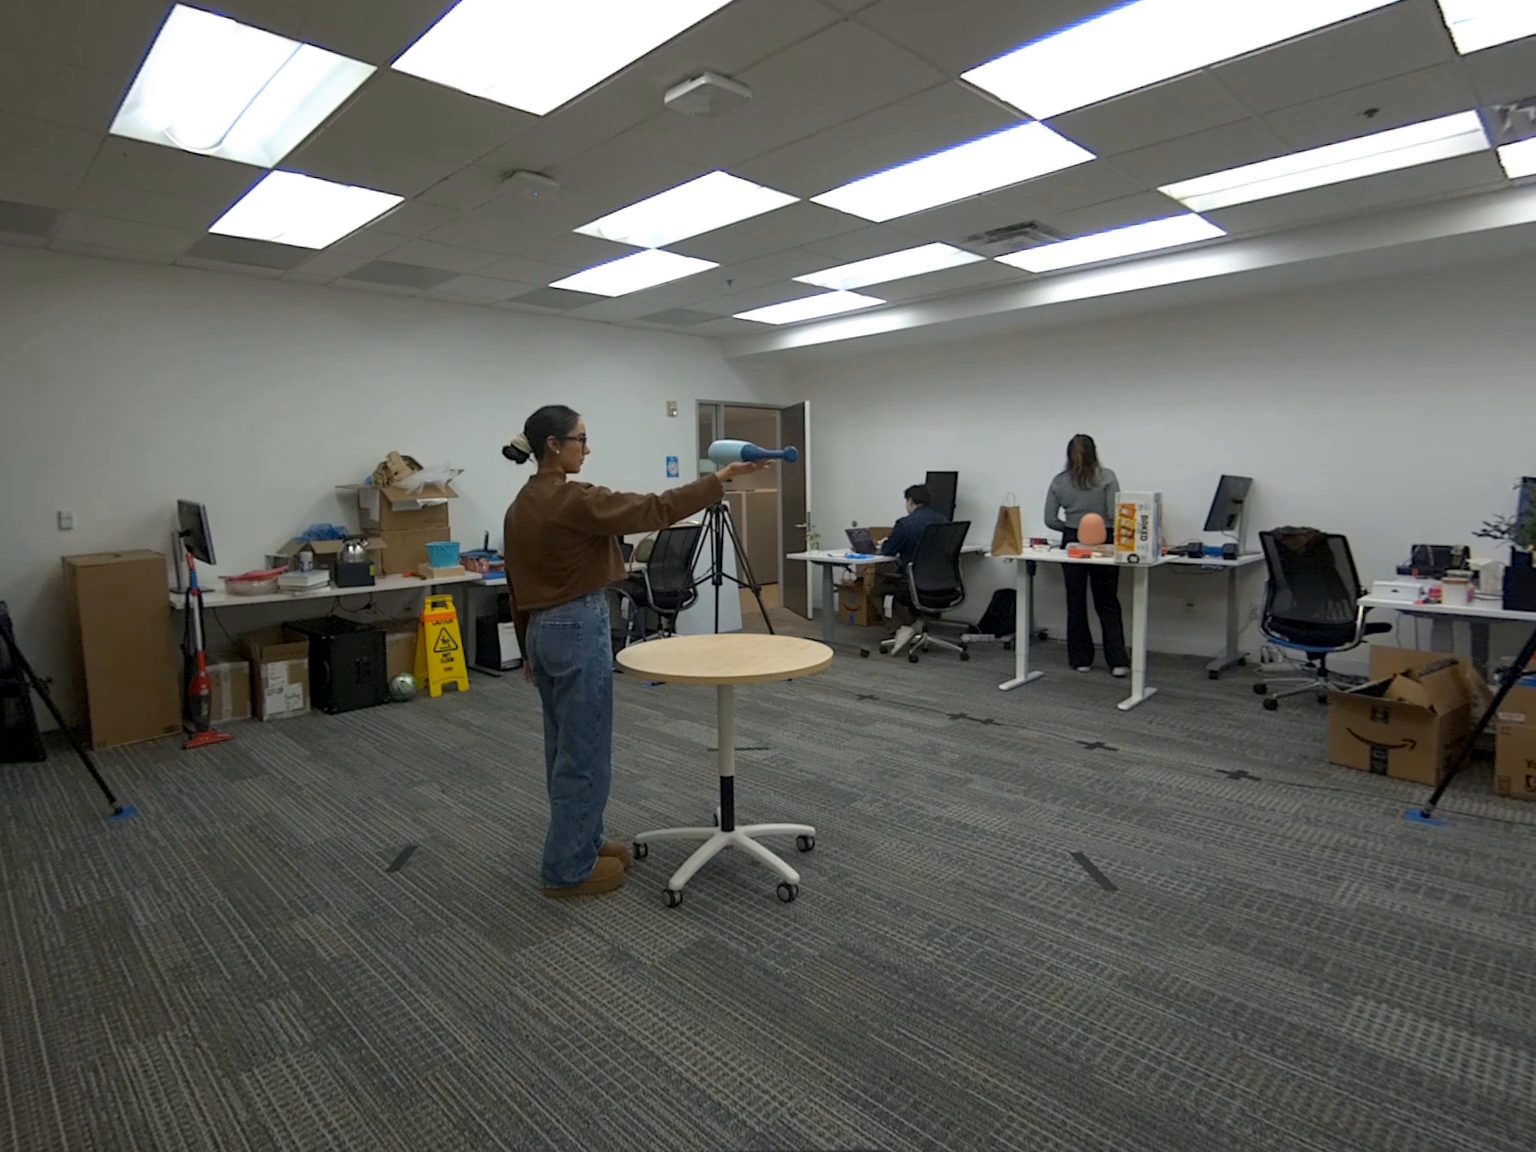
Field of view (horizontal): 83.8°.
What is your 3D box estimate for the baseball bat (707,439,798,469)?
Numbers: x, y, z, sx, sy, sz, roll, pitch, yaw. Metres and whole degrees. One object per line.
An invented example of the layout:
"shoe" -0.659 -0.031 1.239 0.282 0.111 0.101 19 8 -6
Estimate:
"baseball bat" -0.050 -0.409 2.851 0.087 0.088 0.559 -4 9 -28
